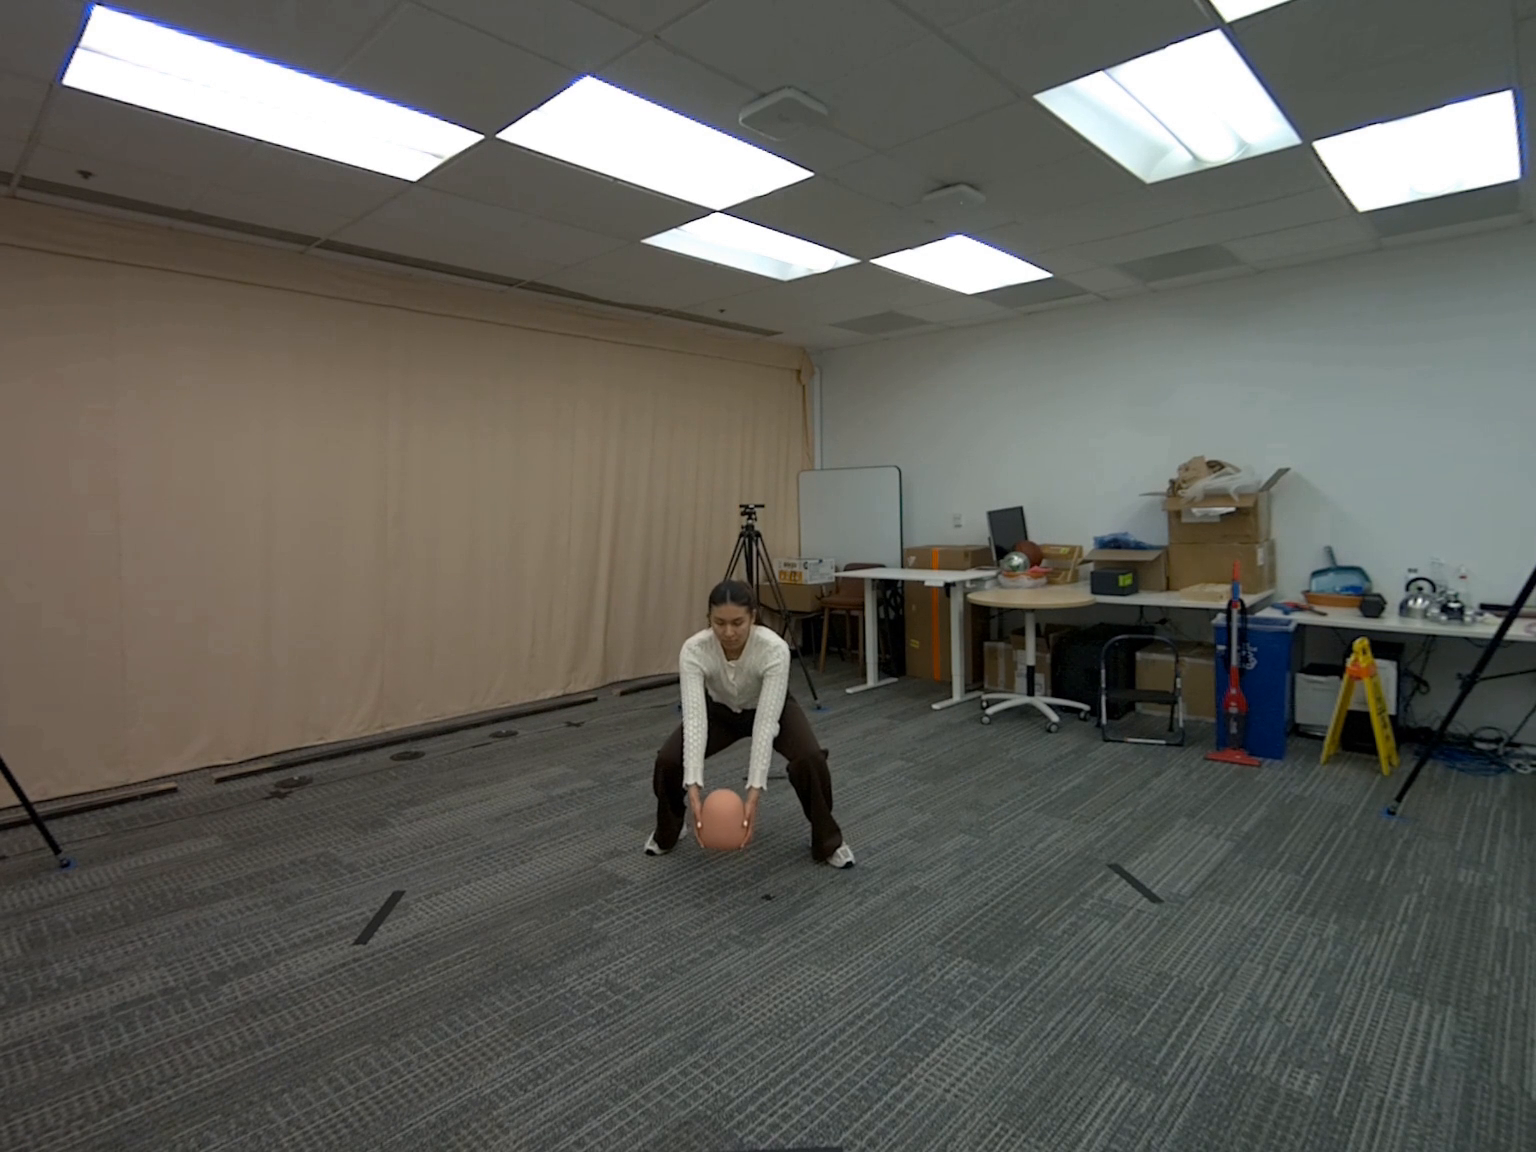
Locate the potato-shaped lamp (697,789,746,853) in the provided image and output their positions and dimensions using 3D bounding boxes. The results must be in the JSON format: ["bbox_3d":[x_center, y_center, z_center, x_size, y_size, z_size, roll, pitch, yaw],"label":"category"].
[{"bbox_3d":[-0.151,0.807,2.865,0.167,0.200,0.167,-1,-18,14],"label":"potato-shaped lamp"}]
